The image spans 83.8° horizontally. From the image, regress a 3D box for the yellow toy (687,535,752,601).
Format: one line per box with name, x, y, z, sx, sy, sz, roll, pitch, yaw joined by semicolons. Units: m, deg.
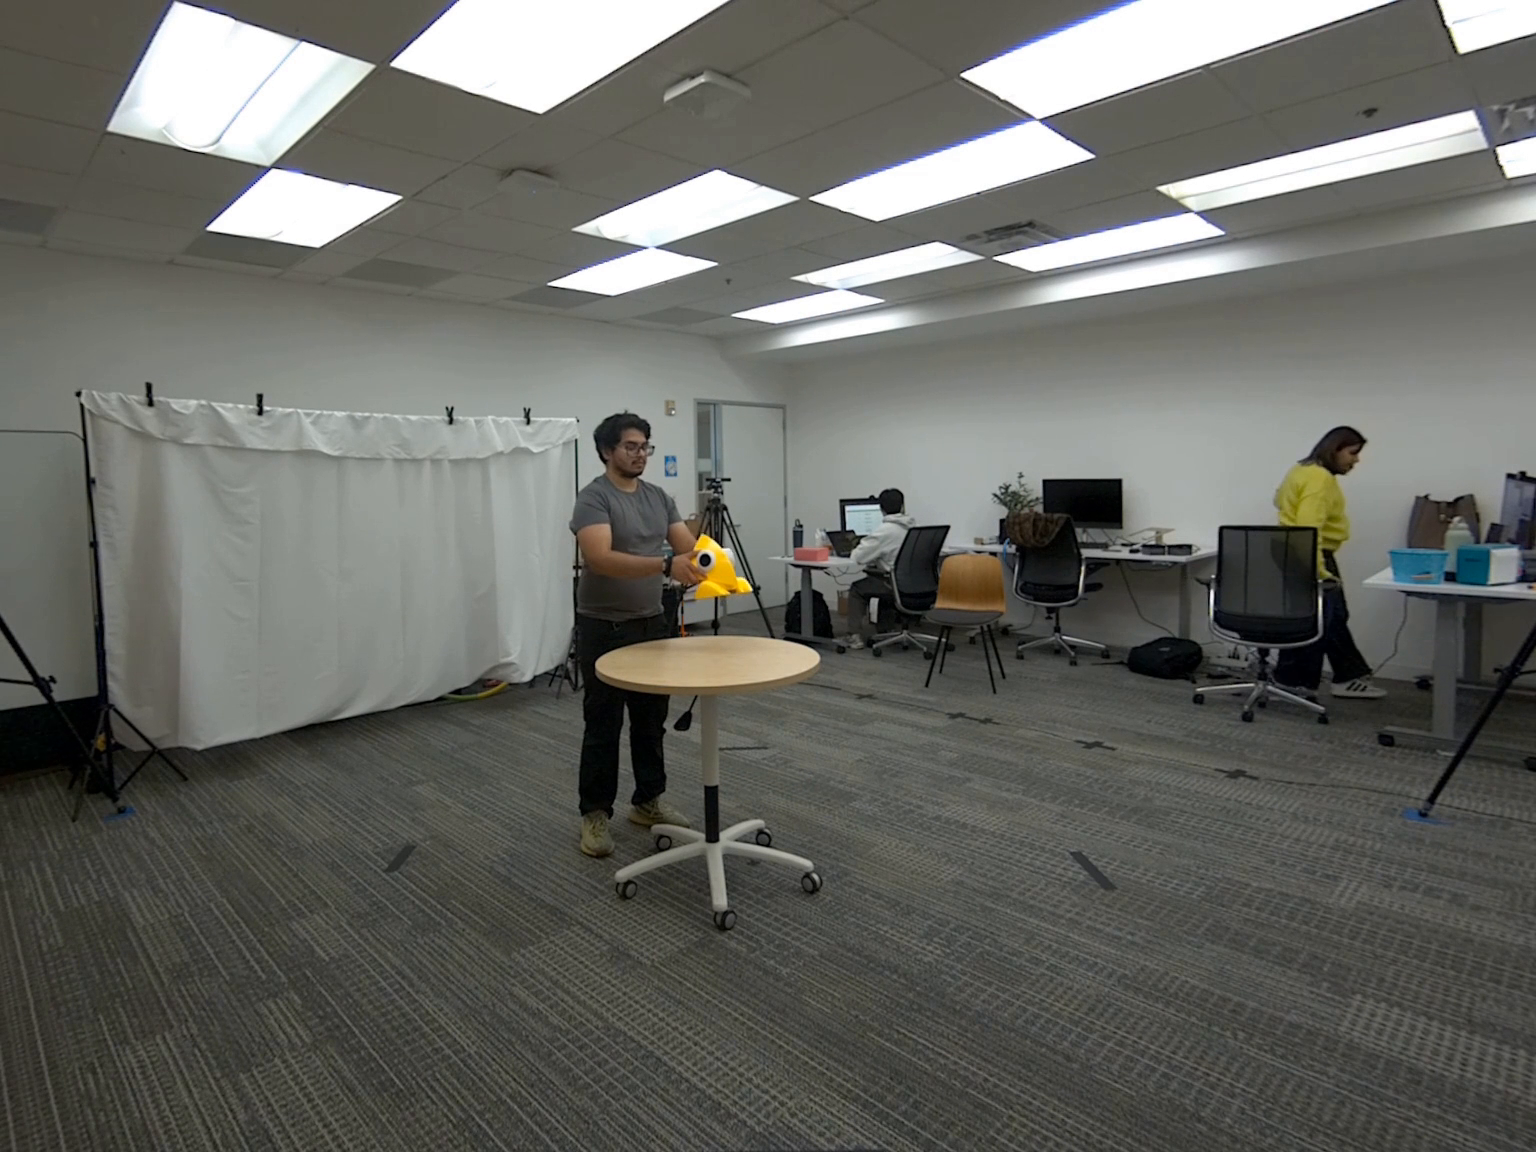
yellow toy;-0.179;-0.042;3.043;0.199;0.232;0.197;-5;-5;-42
